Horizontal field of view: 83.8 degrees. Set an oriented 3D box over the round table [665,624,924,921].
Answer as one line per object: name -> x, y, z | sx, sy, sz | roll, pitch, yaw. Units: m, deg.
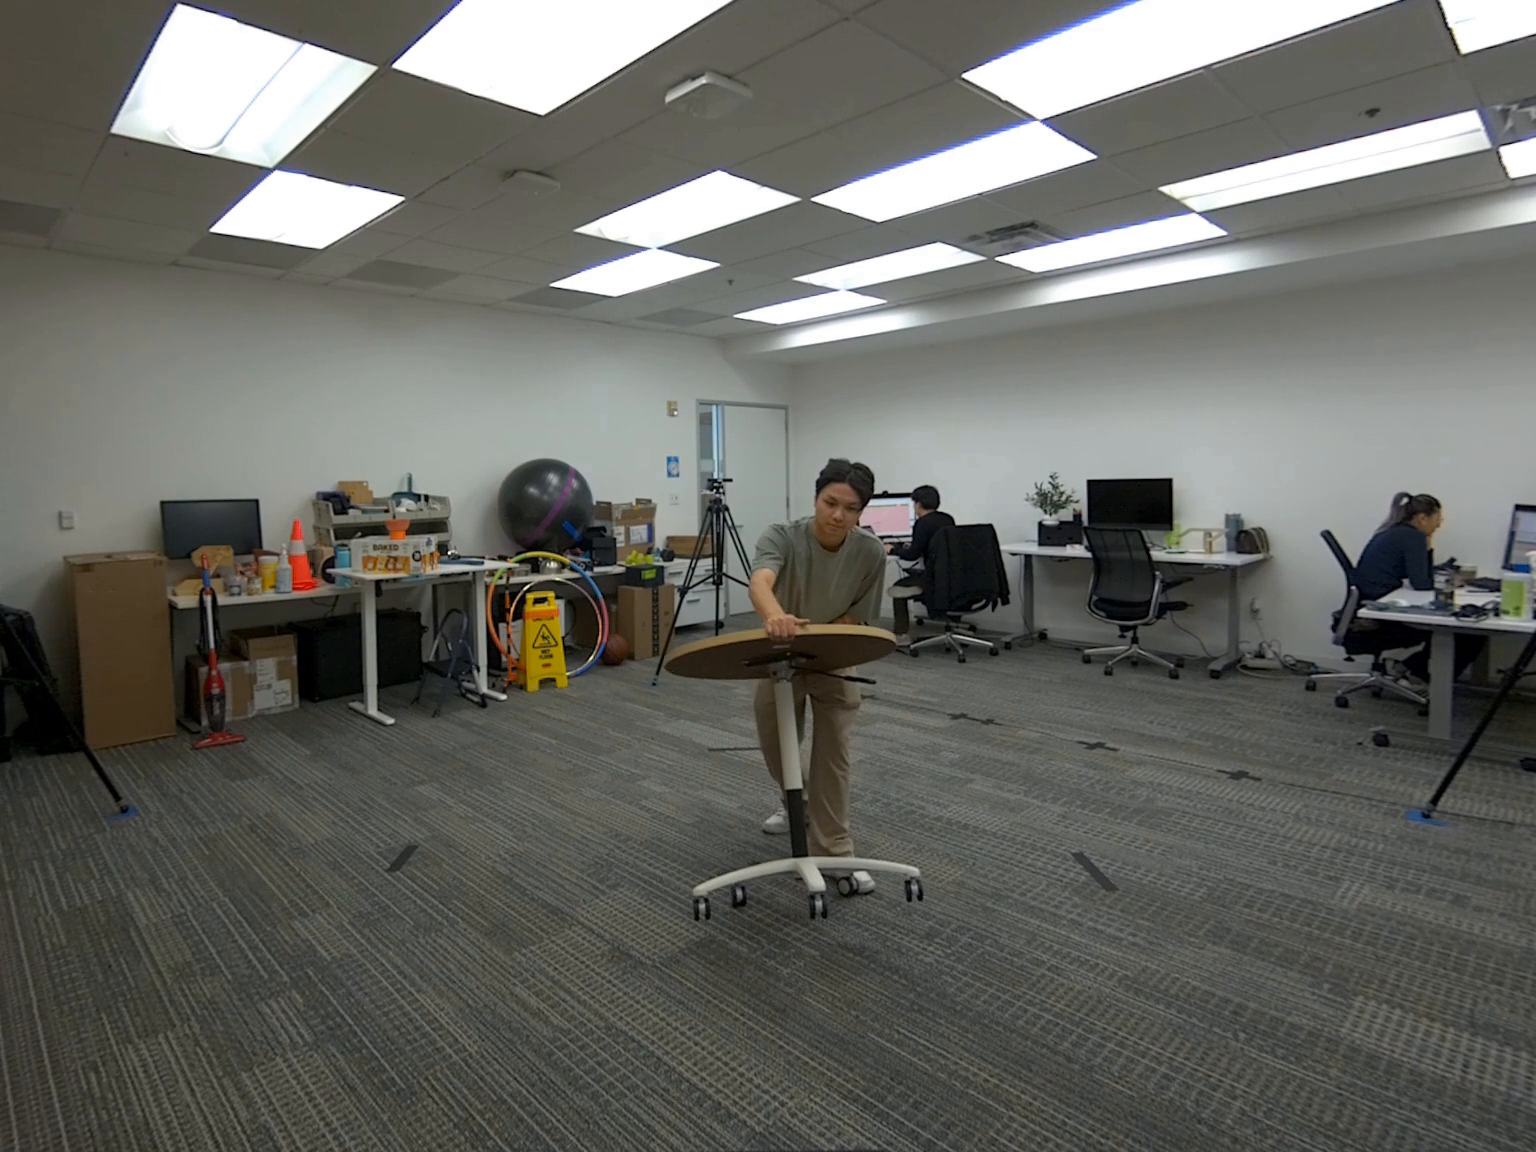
round table -> 0.092, 0.620, 2.685 | 0.783, 0.800, 0.774 | -4, -16, -3
